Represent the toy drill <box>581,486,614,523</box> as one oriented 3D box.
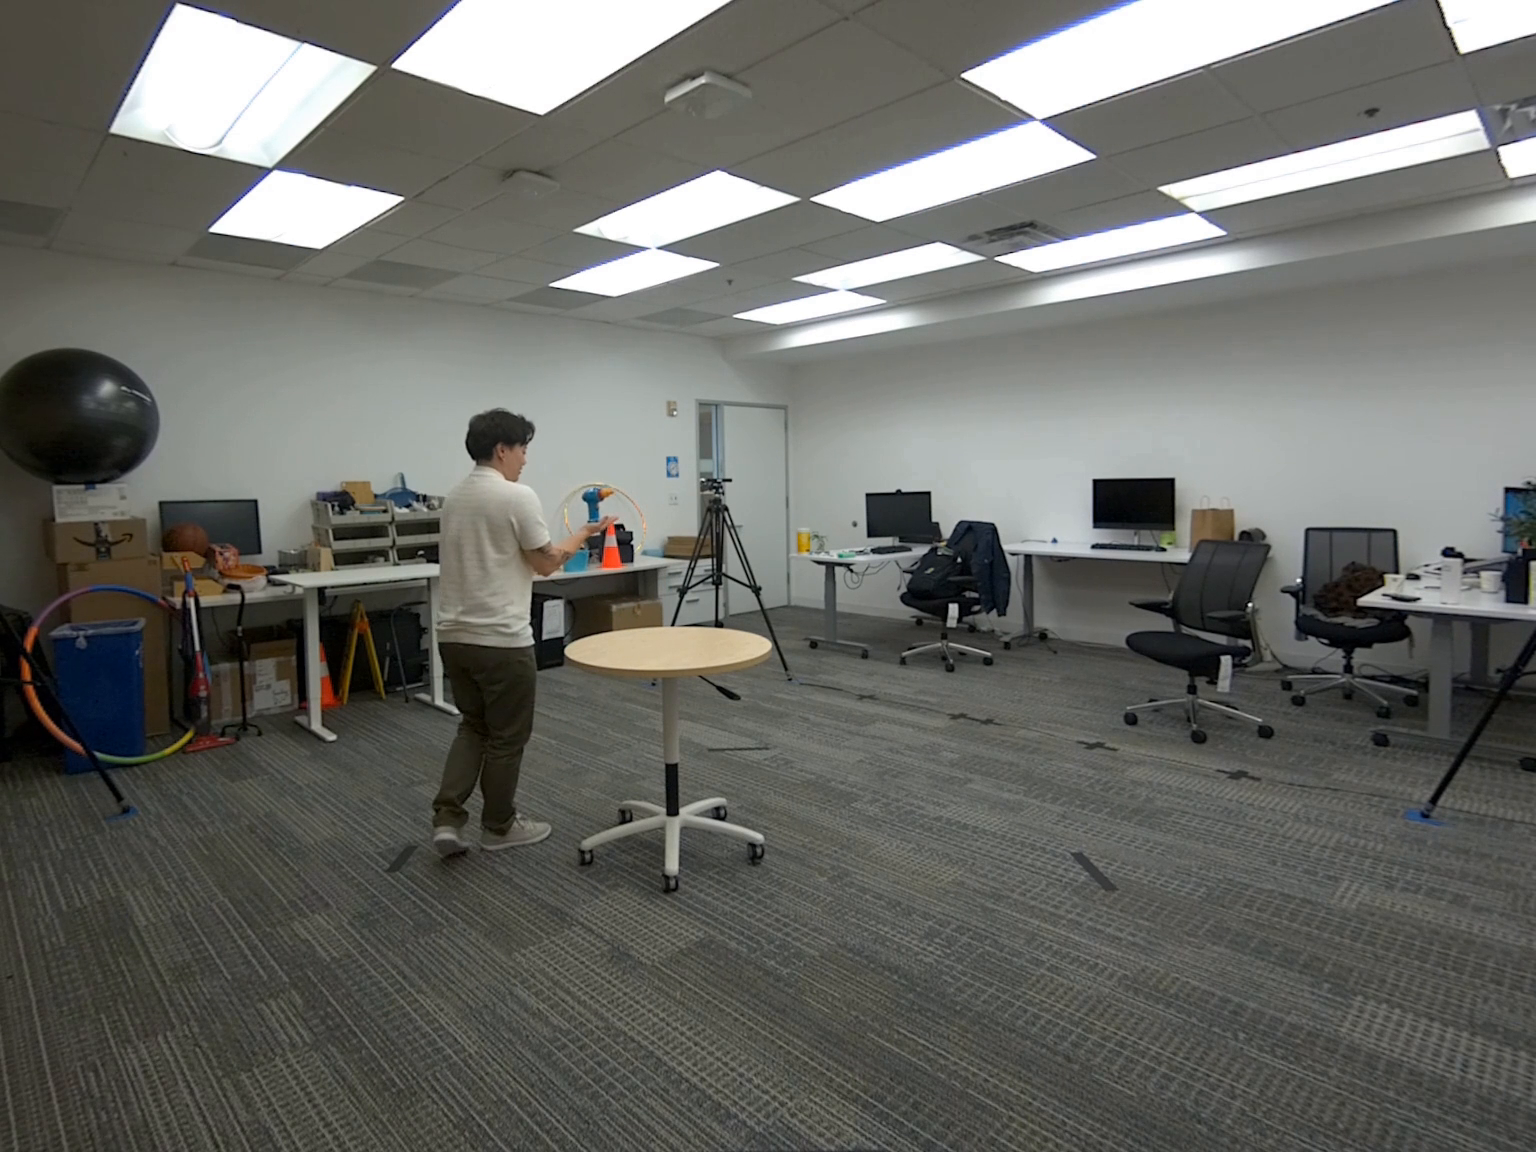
[{"bbox_3d":[-0.666,-0.278,3.362,0.174,0.146,0.060,-7,3,32],"label":"toy drill"}]
